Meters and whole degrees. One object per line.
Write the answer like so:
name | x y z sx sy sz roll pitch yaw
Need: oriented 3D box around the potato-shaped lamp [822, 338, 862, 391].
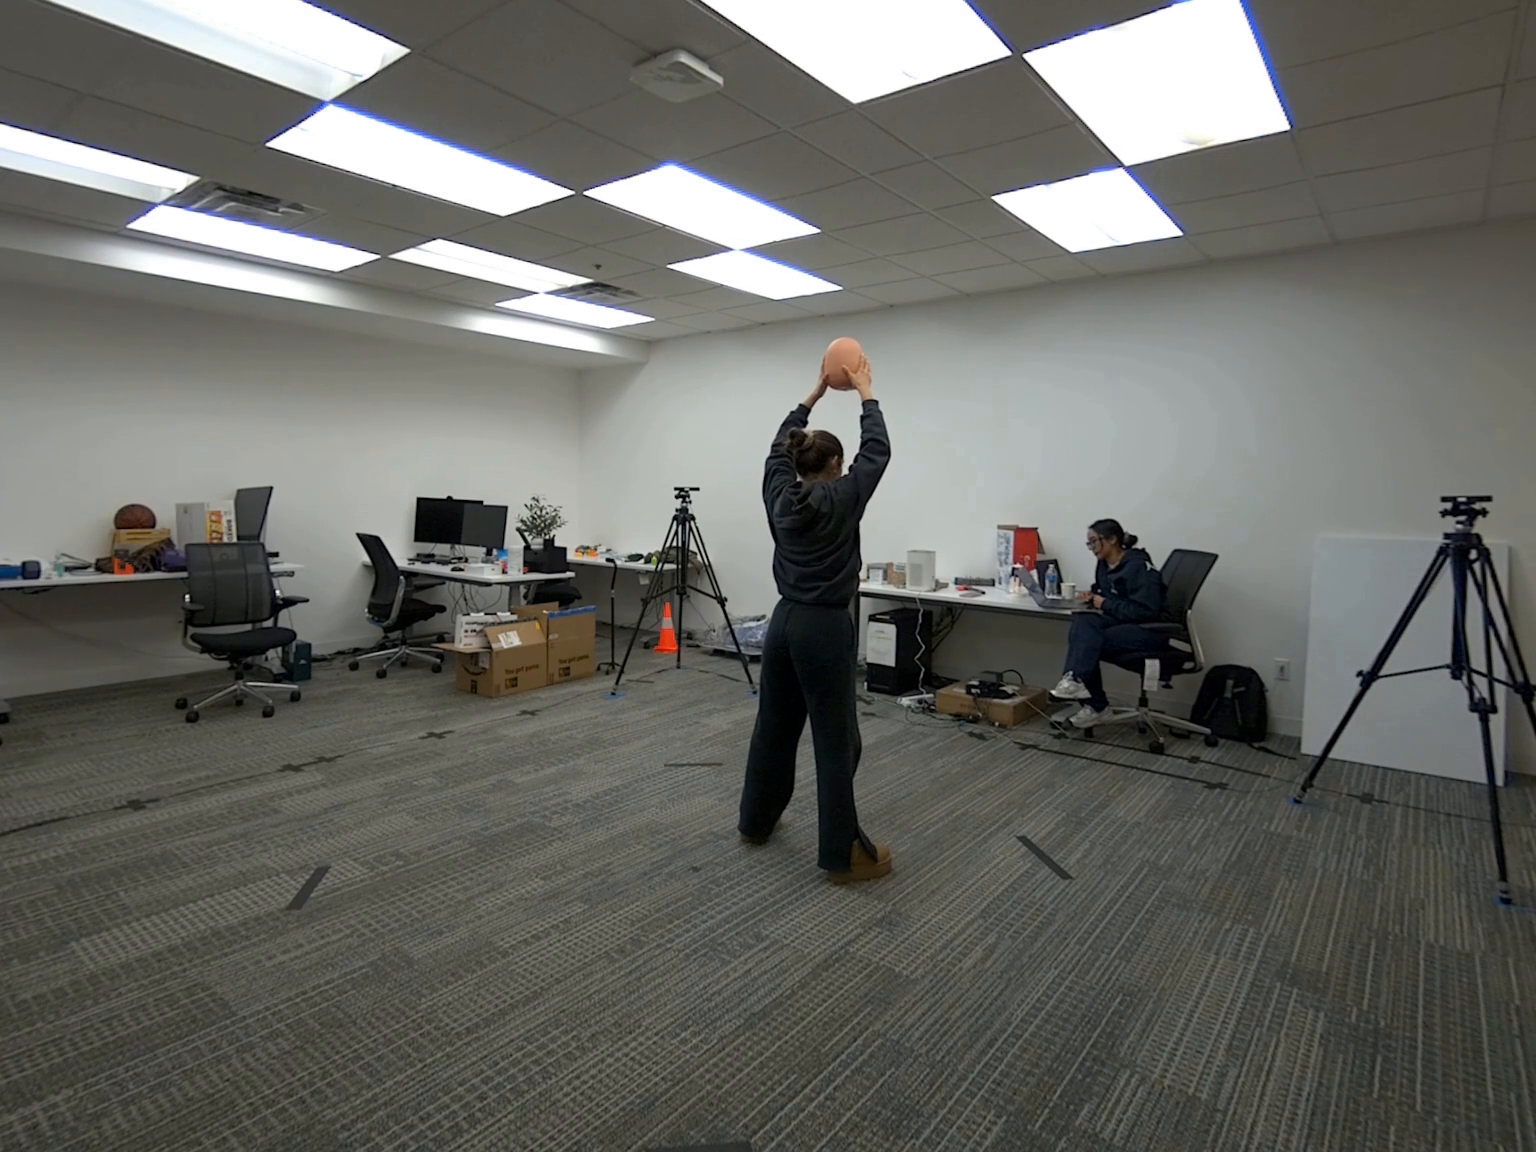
potato-shaped lamp | 0.298 -0.830 3.300 0.170 0.198 0.166 1 1 42
